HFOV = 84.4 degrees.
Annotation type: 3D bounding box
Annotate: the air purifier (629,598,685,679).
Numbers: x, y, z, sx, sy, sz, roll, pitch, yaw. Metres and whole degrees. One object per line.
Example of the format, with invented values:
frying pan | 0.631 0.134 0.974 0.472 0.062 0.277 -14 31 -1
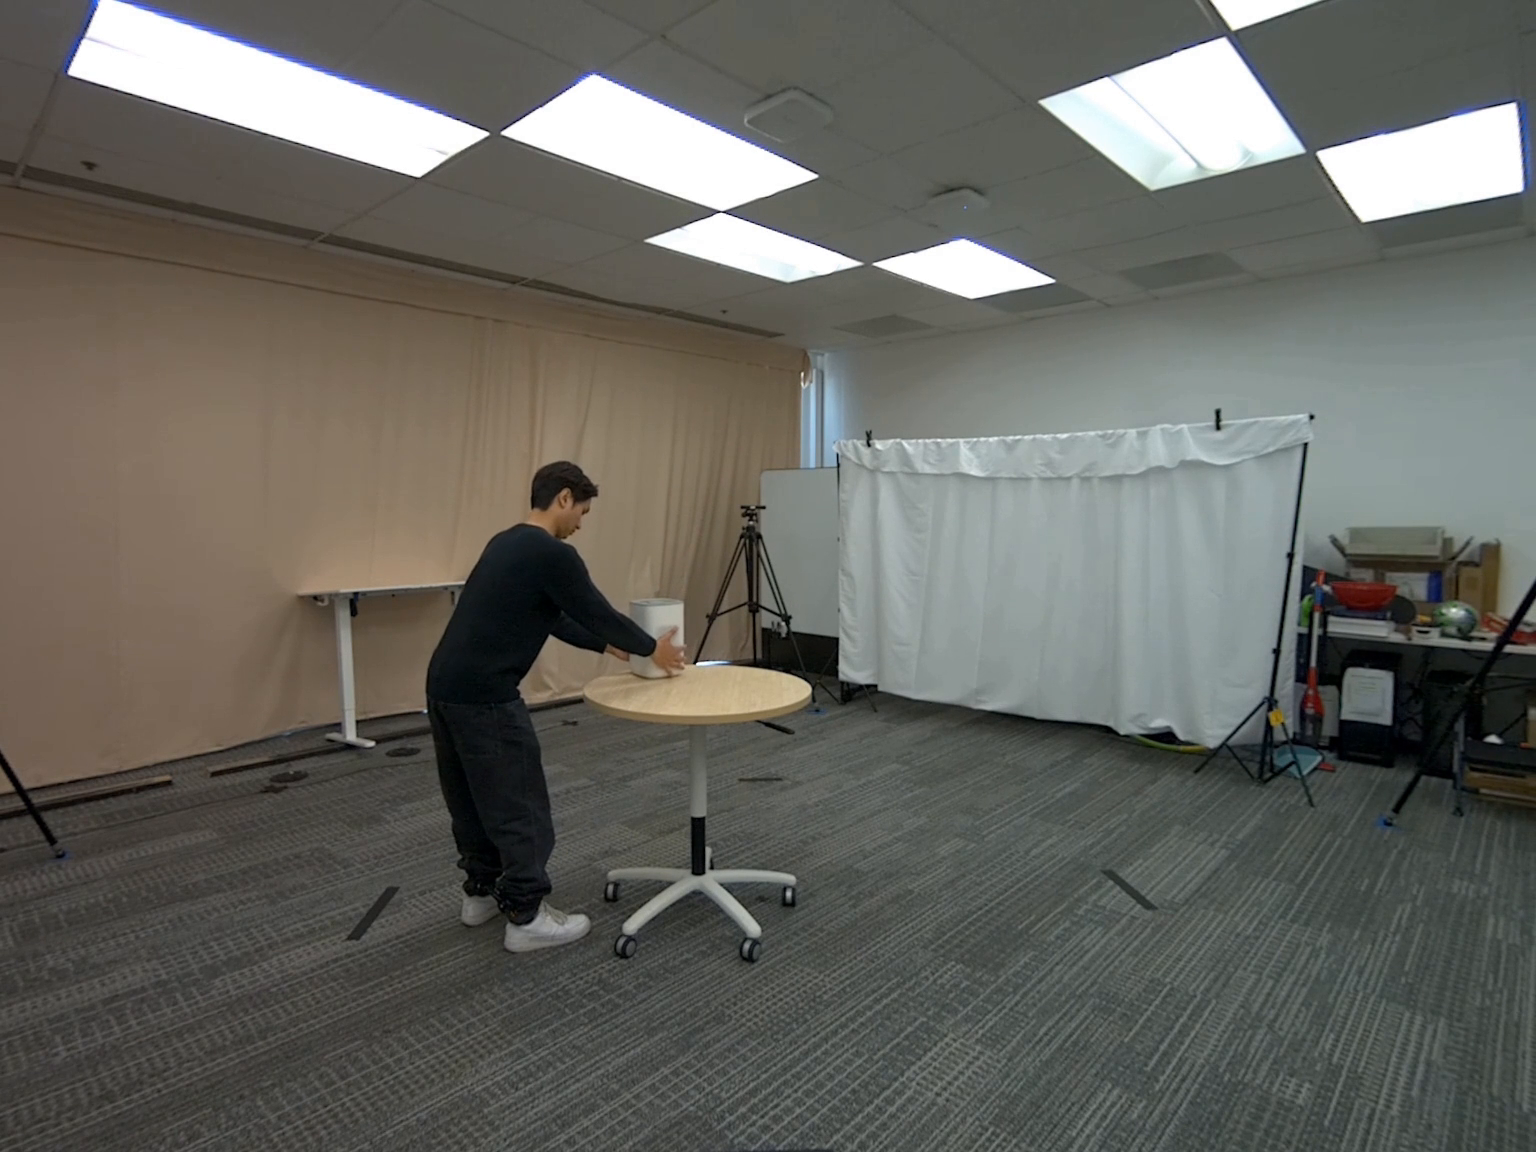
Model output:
air purifier | -0.400 0.222 3.028 0.166 0.265 0.176 -3 4 -37
